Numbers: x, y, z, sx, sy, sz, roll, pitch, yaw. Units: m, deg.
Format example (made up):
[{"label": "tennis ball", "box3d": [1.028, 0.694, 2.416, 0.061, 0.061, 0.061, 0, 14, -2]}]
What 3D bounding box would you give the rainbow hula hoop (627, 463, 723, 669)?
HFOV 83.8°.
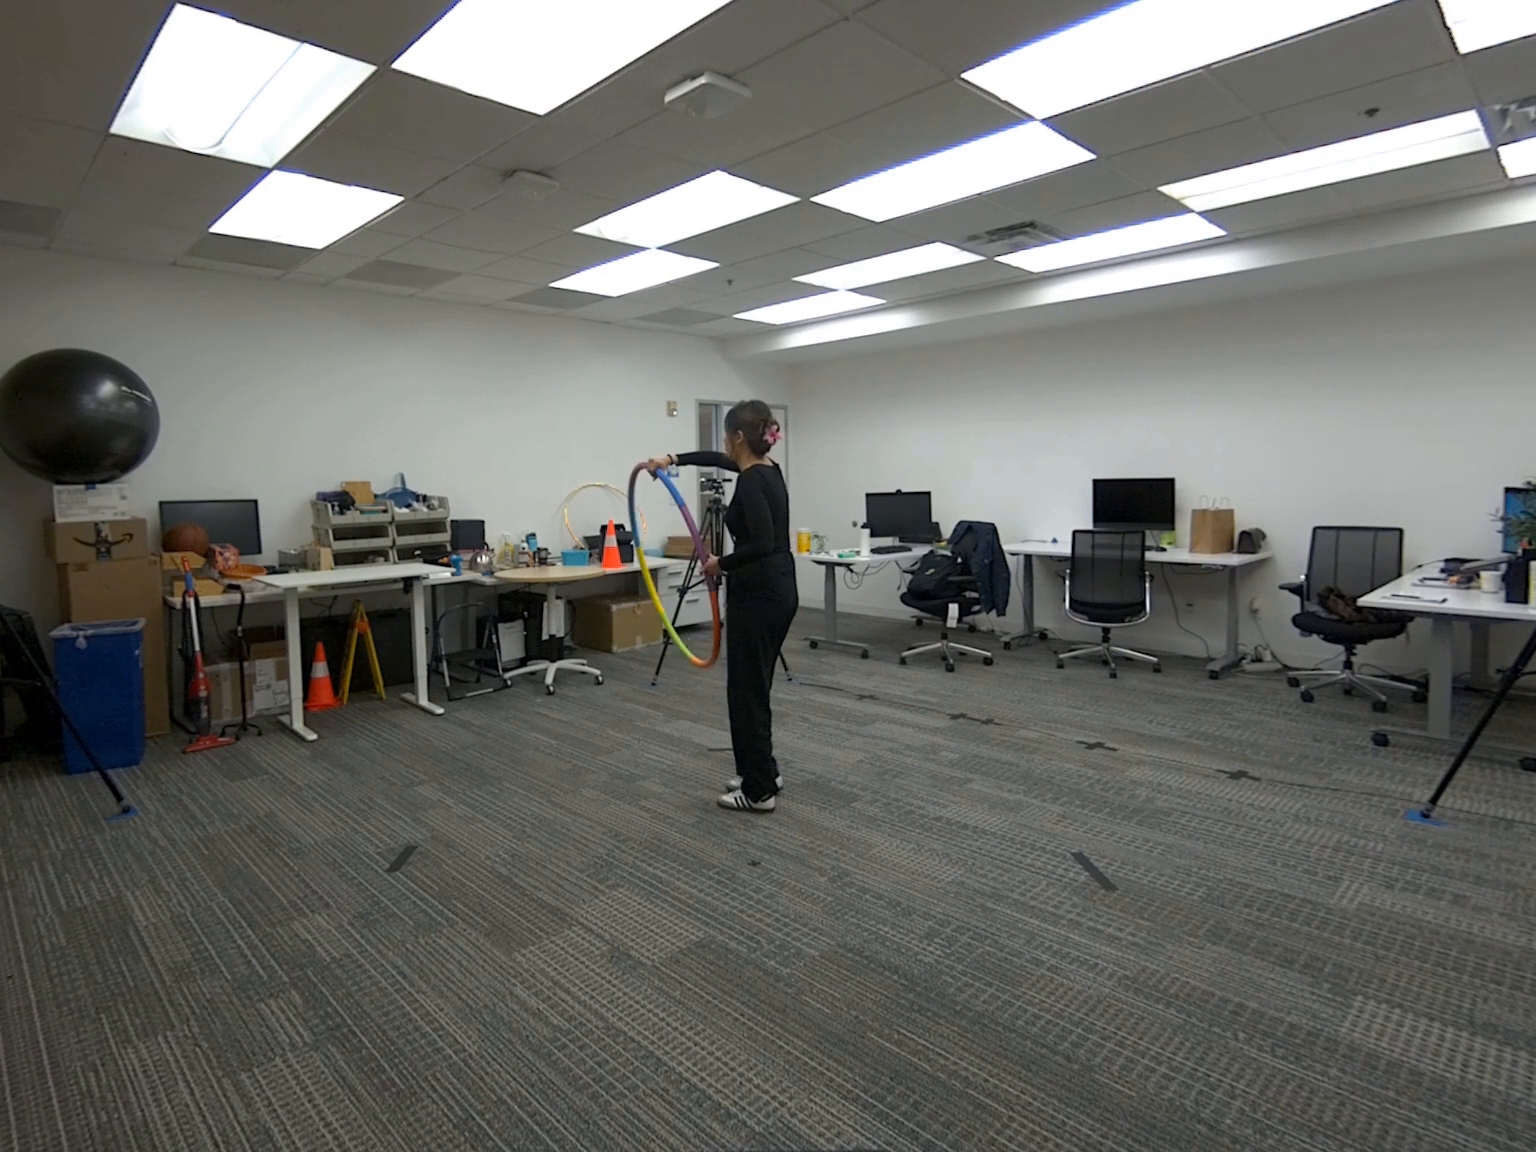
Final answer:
[{"label": "rainbow hula hoop", "box3d": [-0.450, -0.048, 3.952, 0.051, 0.975, 1.008, -17, 11, -21]}]
